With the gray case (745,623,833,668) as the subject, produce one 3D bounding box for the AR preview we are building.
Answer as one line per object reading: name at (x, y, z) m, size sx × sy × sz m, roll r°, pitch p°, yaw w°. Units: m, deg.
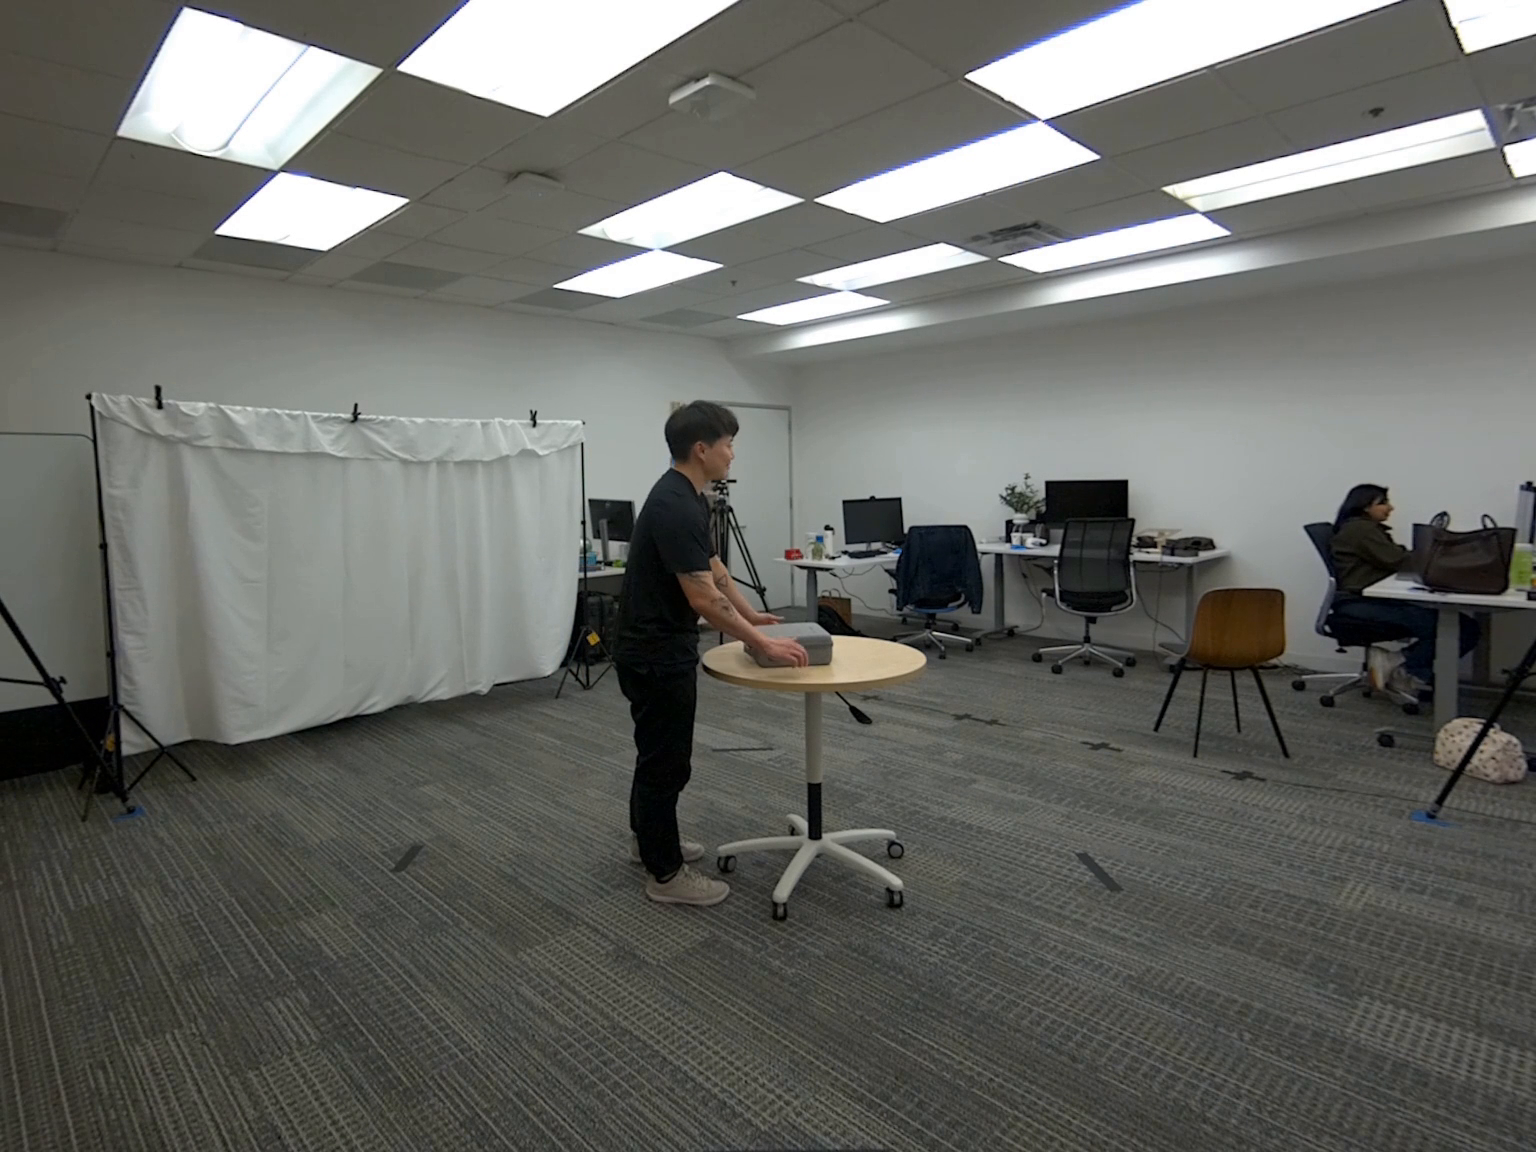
gray case at (0.062, 0.235, 2.906) m, size 0.259 × 0.104 × 0.260 m, roll -2°, pitch 8°, yaw -8°
